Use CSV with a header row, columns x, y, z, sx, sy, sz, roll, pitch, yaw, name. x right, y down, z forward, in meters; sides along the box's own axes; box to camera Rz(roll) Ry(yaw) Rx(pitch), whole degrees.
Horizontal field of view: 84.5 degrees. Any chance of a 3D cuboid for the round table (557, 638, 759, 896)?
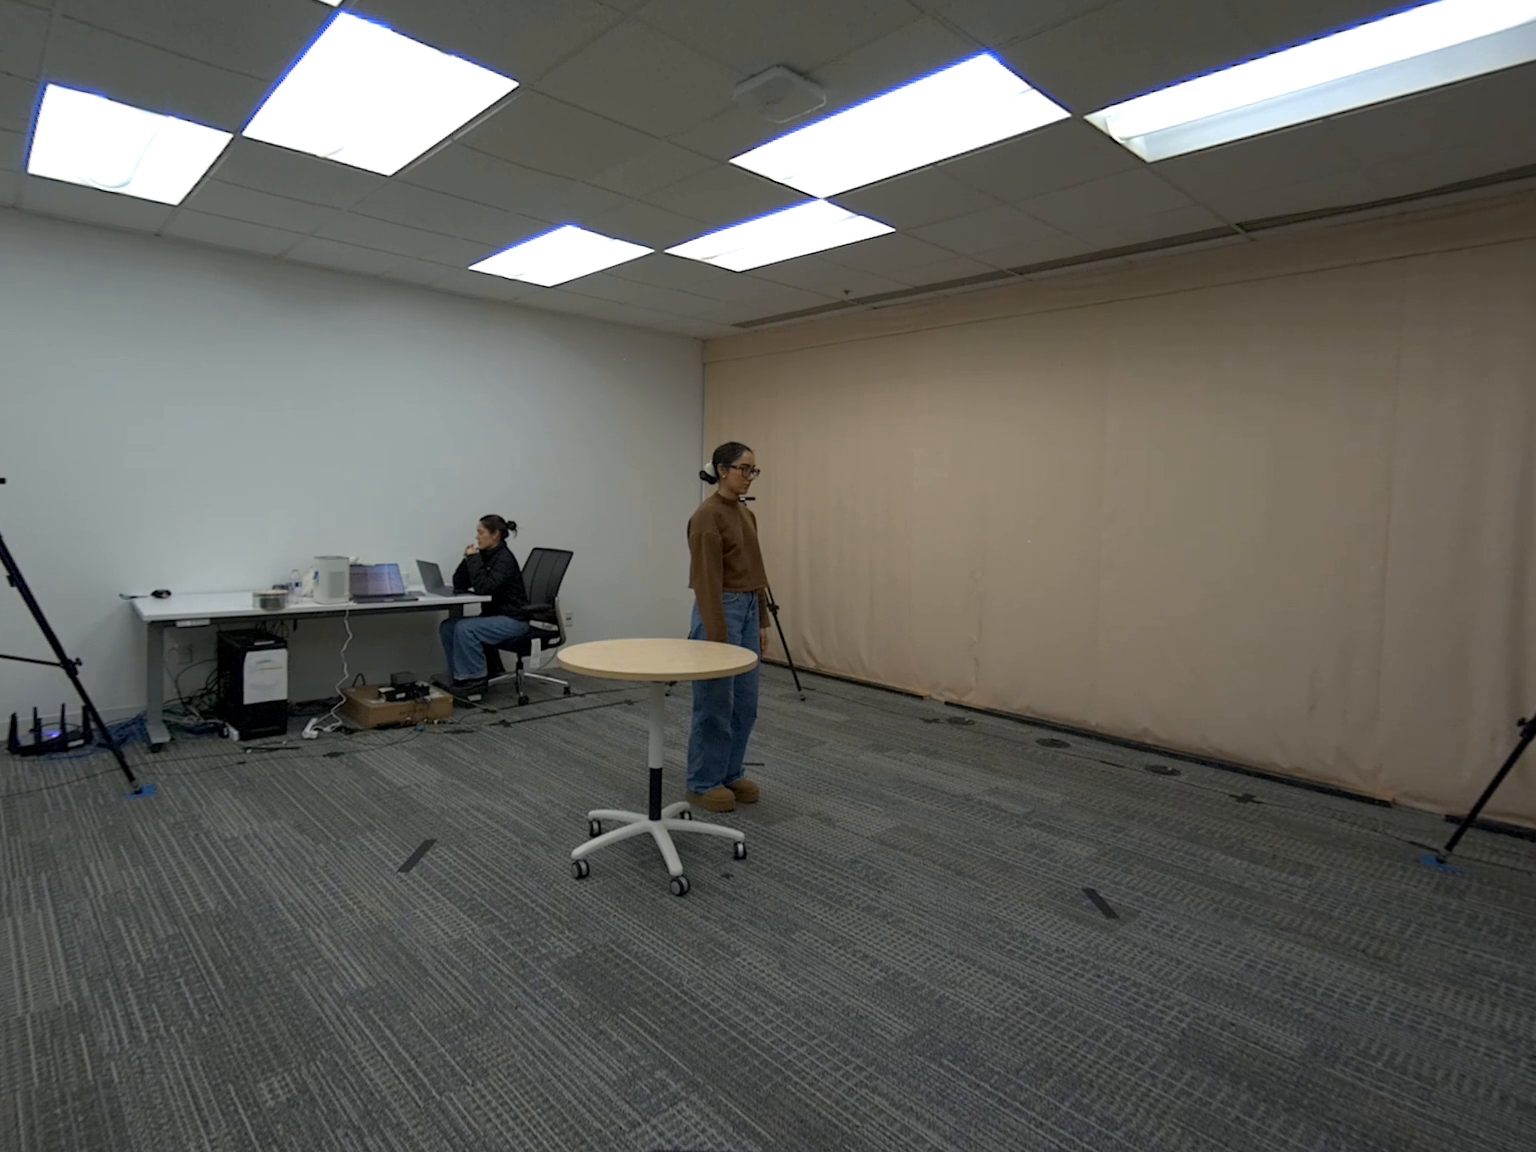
x,y,z,sx,sy,sz,roll,pitch,yaw,name
-0.446,0.698,3.259,0.763,0.792,0.766,1,3,-1,round table
